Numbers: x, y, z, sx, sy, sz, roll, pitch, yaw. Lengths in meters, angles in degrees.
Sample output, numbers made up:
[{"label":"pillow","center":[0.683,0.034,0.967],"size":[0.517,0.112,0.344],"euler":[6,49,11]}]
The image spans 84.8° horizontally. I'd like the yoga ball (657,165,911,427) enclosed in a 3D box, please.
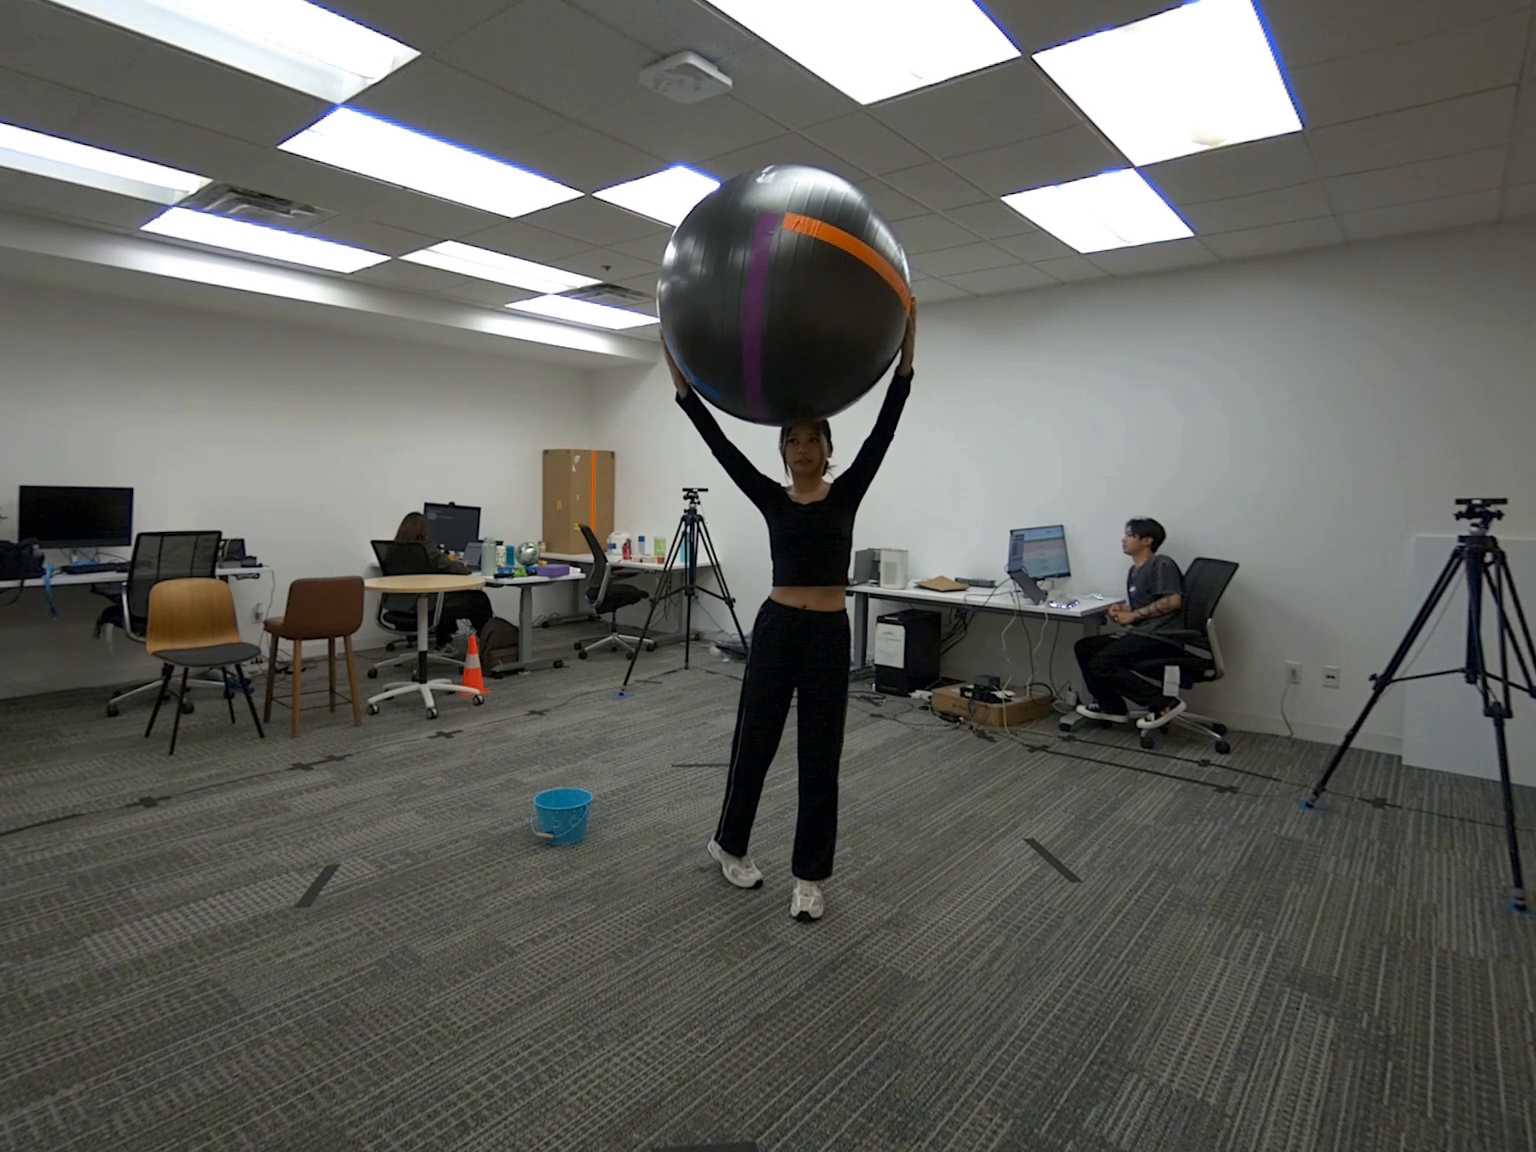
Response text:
[{"label":"yoga ball","center":[0.038,-0.827,2.567],"size":[0.757,0.755,0.762],"euler":[1,4,-2]}]
